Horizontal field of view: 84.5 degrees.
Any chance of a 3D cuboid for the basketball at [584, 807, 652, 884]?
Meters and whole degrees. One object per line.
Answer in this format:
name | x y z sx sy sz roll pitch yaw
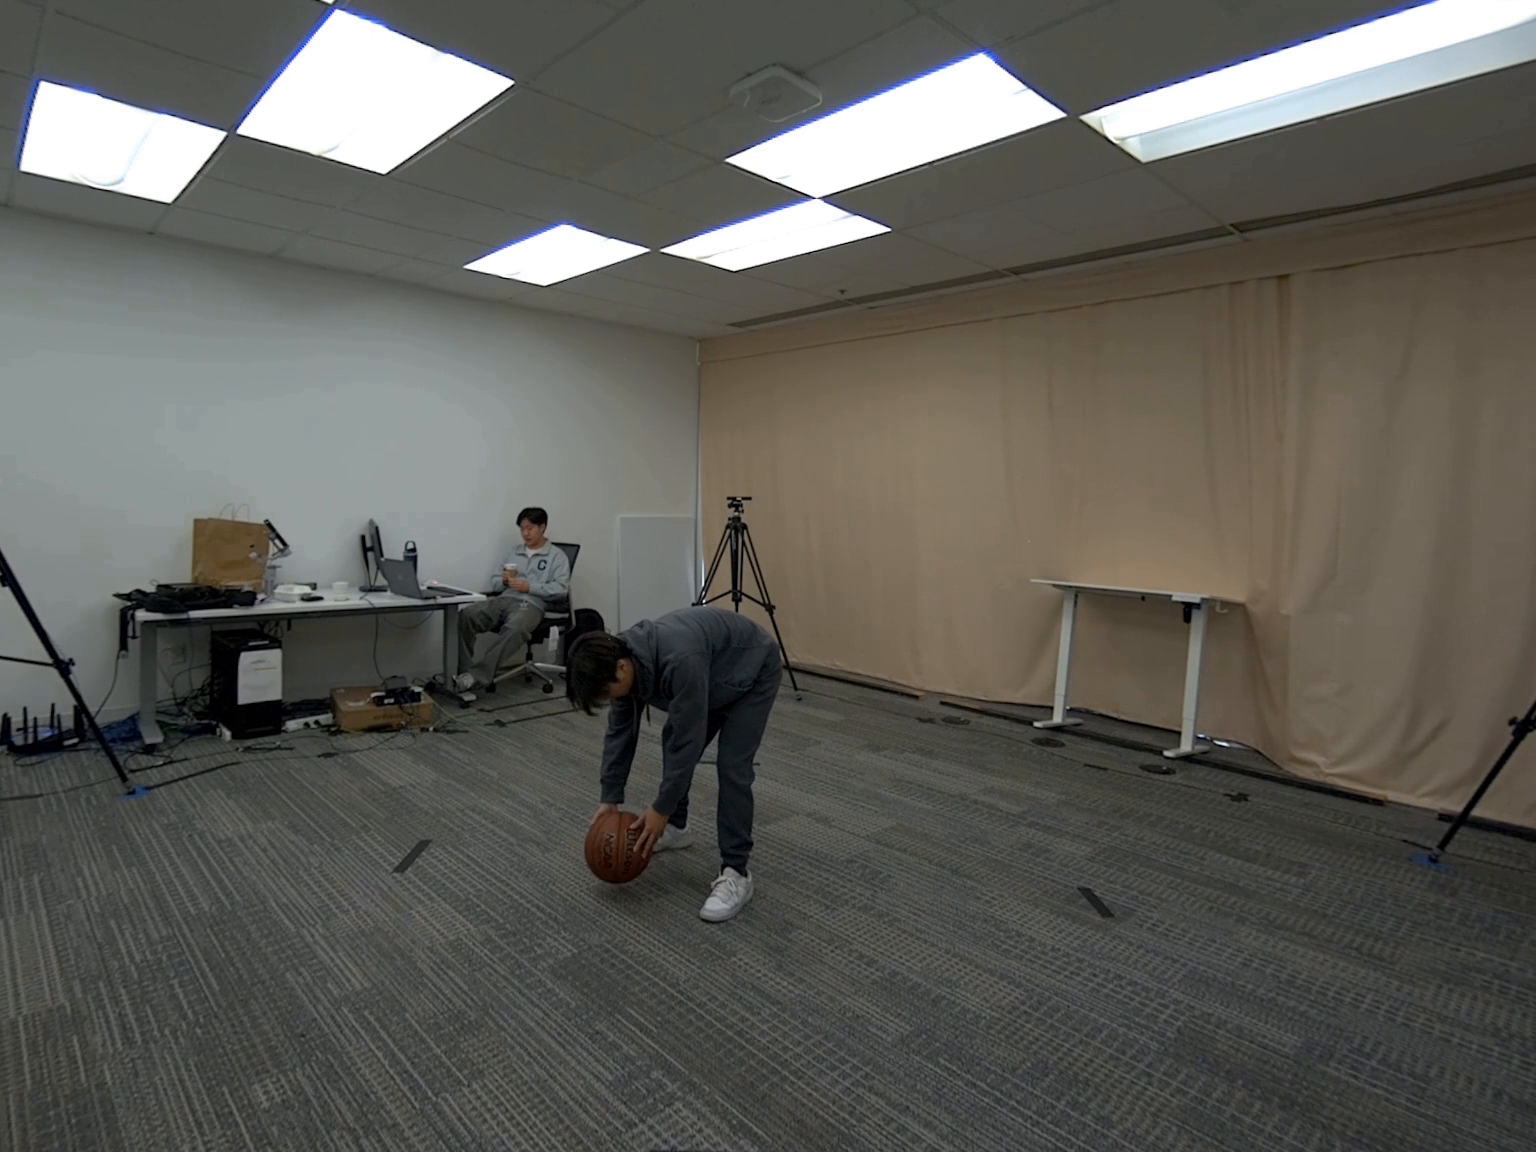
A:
basketball | -0.527 0.941 2.934 0.236 0.235 0.237 1 4 -1
